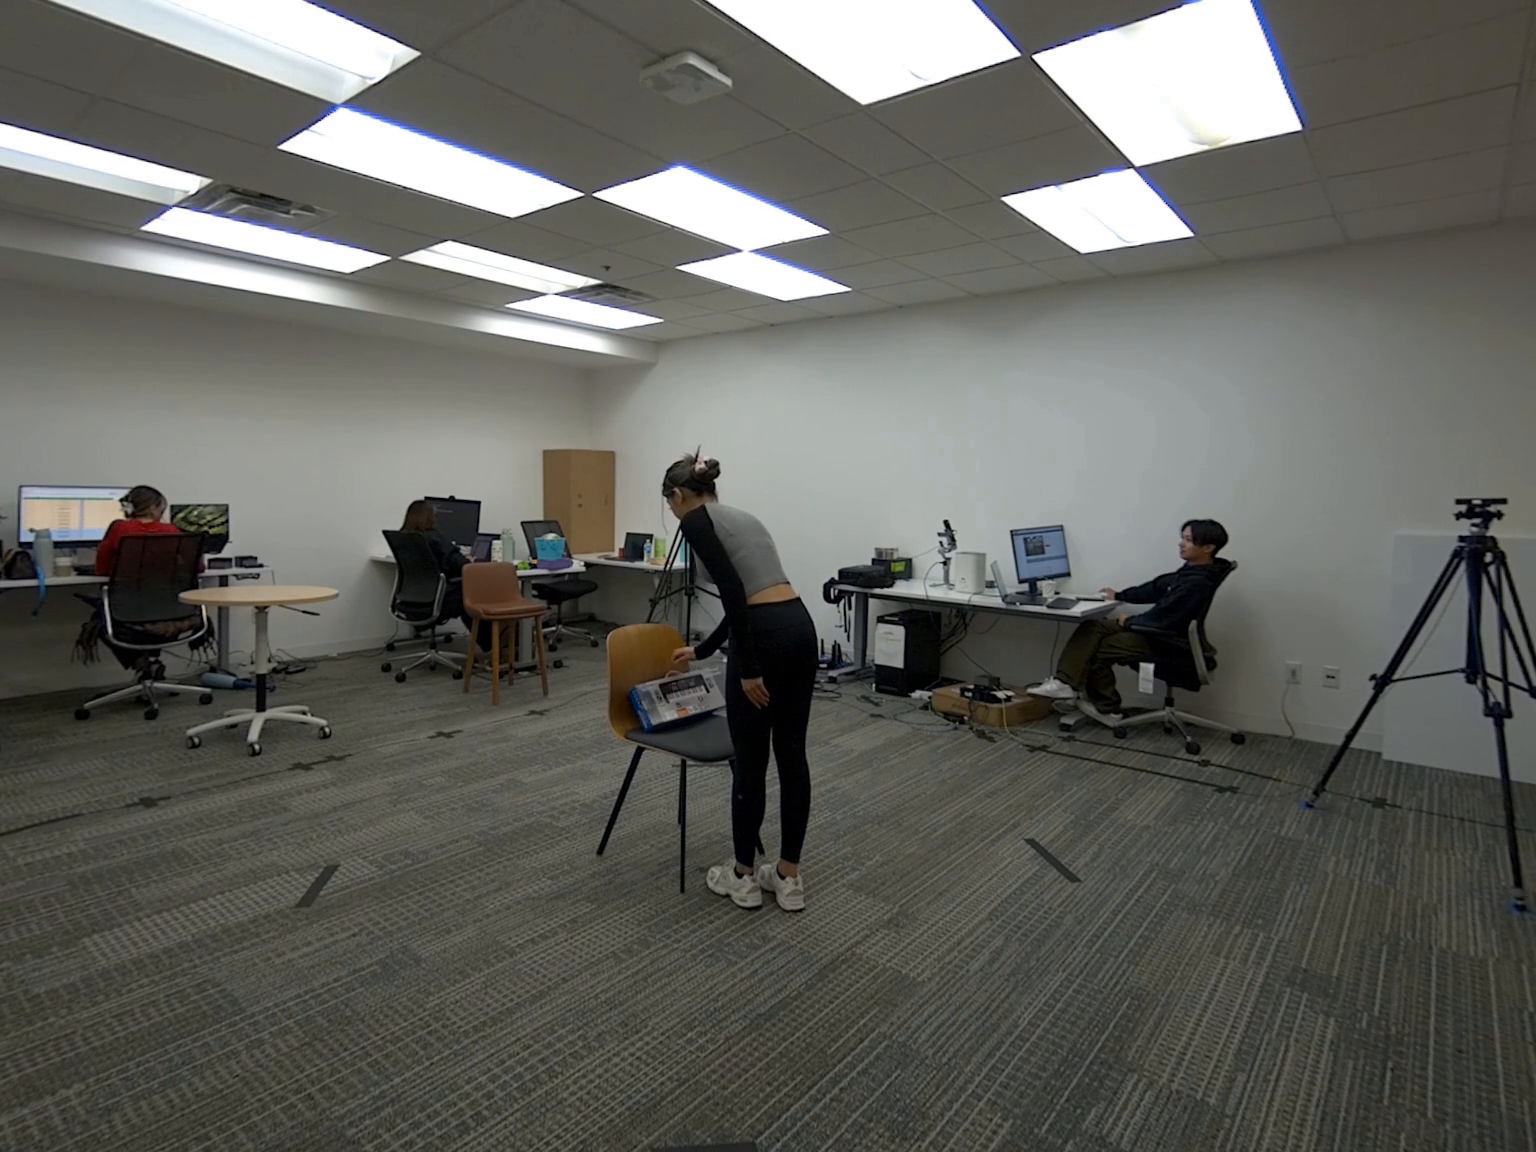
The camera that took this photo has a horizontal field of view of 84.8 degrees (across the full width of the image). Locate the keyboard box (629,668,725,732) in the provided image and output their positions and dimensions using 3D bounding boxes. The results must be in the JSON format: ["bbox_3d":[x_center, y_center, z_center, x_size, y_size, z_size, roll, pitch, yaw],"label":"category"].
[{"bbox_3d":[-0.340,0.484,3.349,0.425,0.181,0.059,-9,-31,-43],"label":"keyboard box"}]
